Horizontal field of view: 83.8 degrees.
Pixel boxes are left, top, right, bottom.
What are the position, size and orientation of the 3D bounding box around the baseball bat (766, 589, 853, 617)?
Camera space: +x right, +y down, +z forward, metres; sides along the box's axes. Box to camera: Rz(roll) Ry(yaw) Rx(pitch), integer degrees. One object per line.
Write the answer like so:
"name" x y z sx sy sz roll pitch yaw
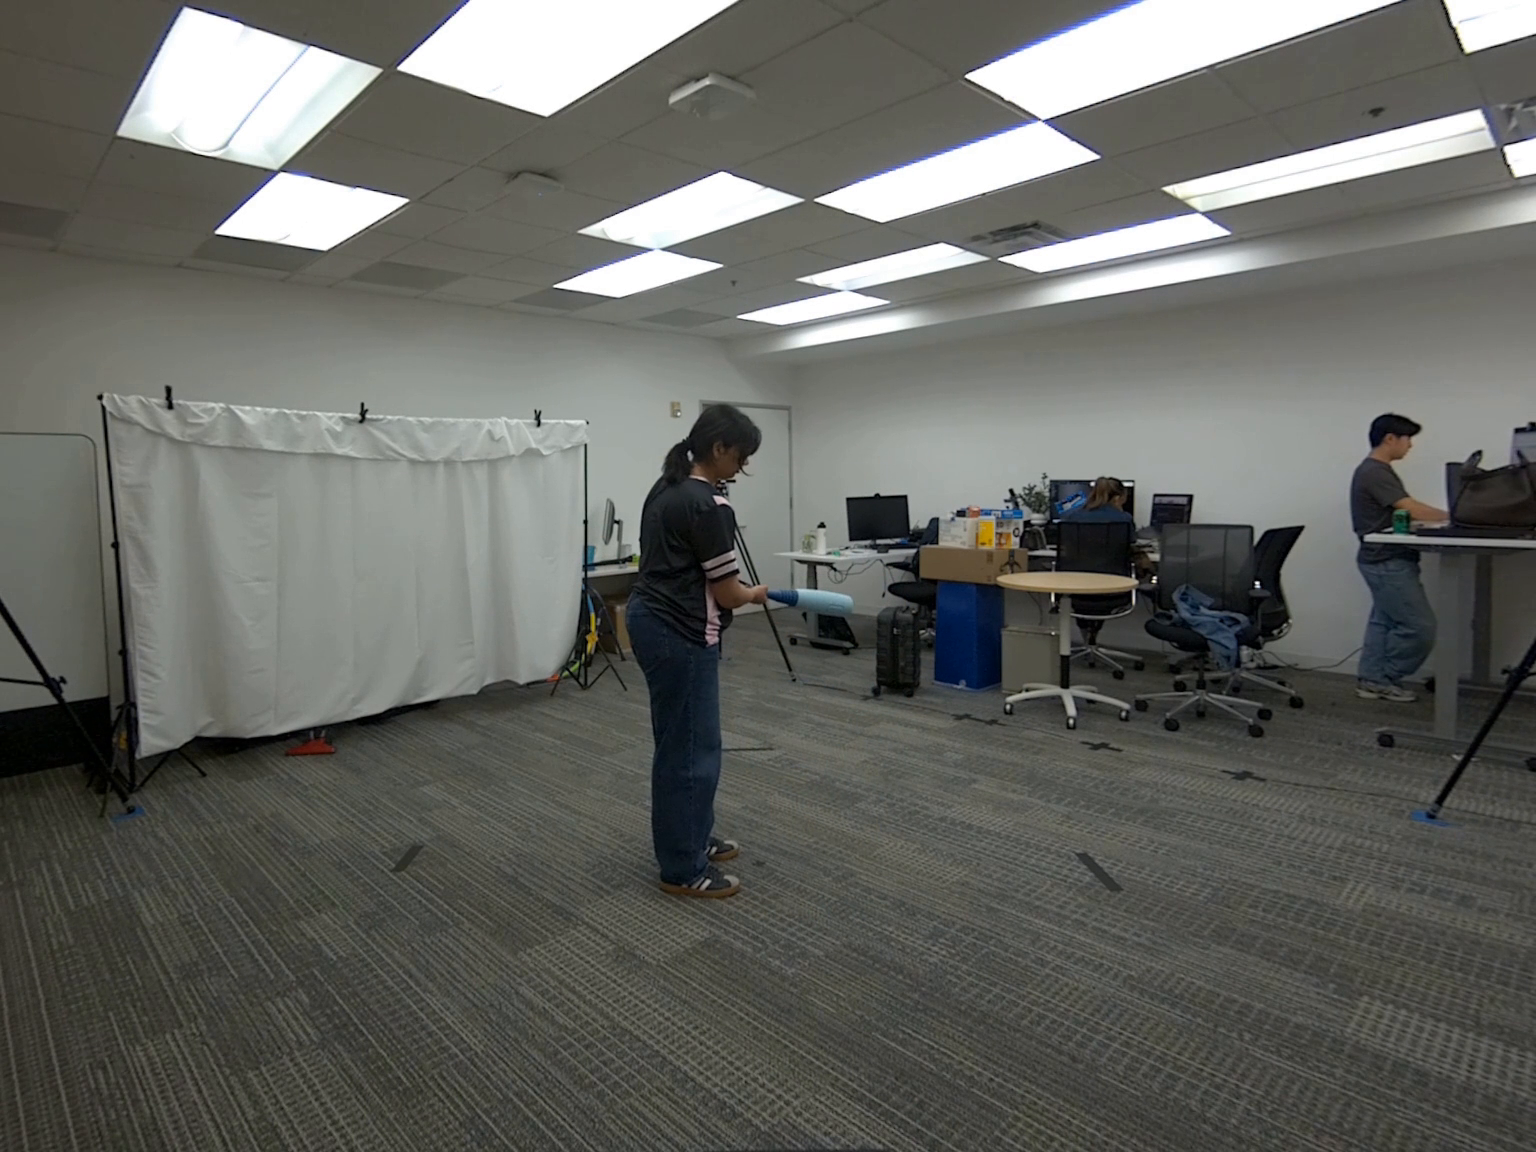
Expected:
"baseball bat" 0.081 0.078 3.218 0.530 0.089 0.091 8 1 -23
